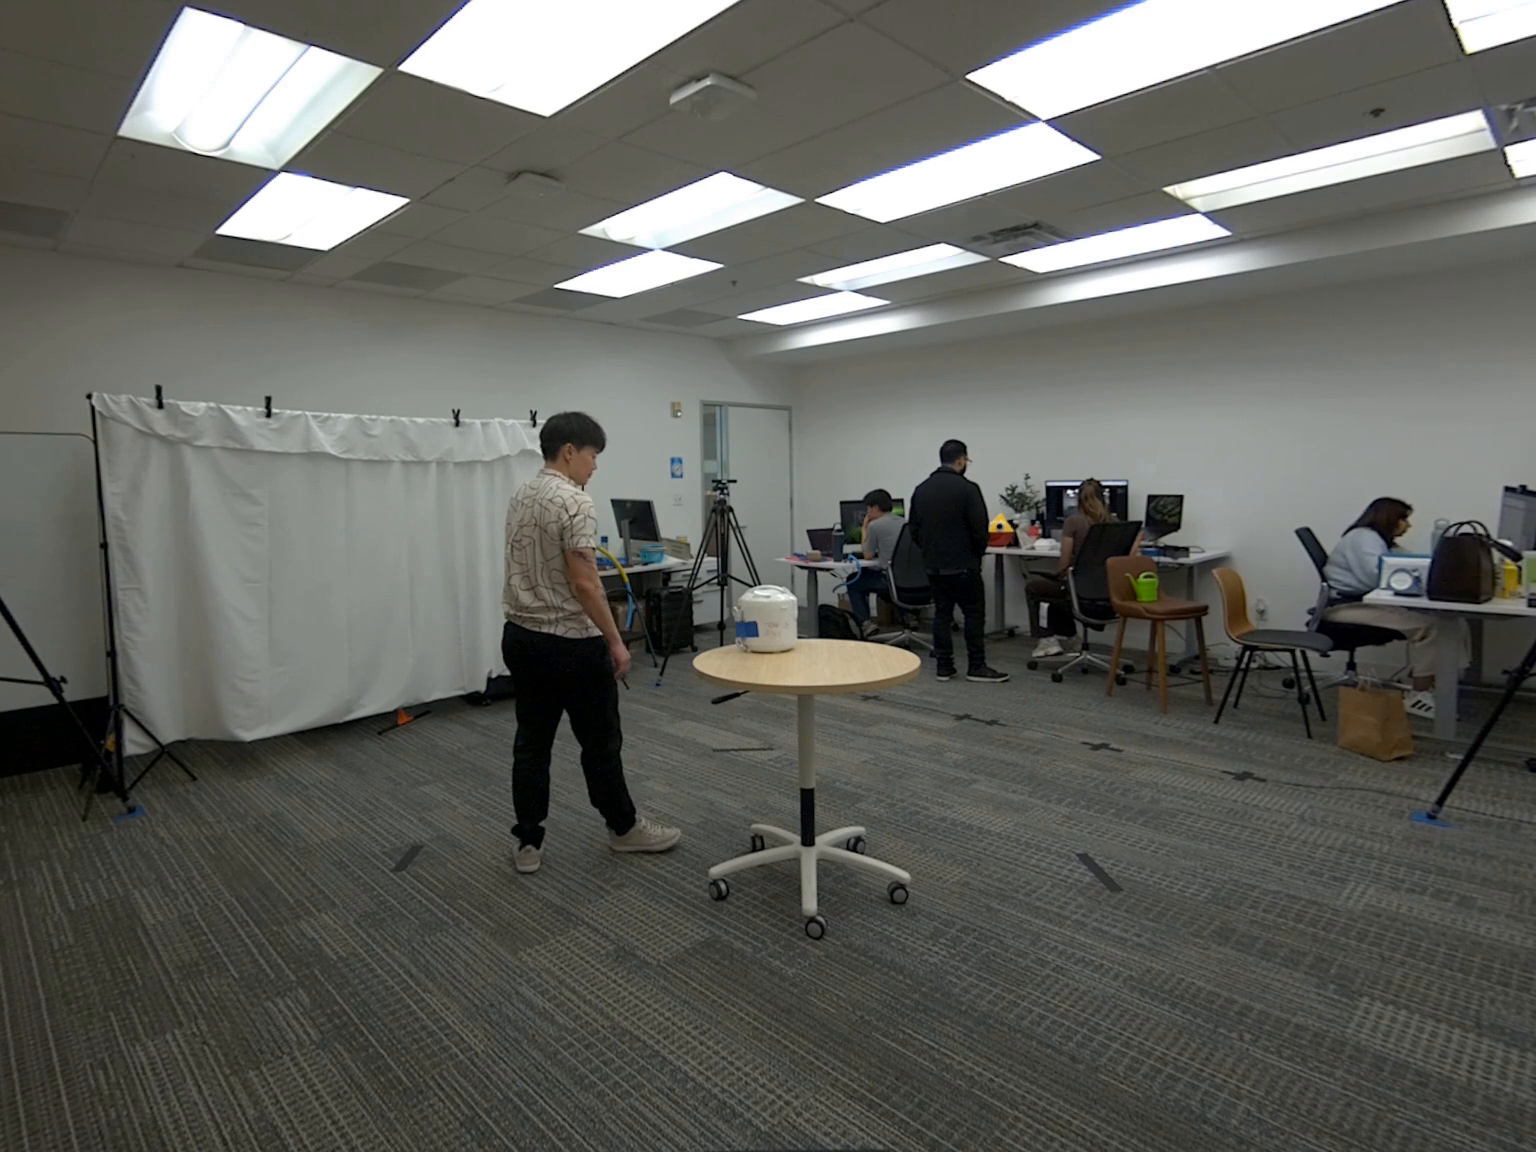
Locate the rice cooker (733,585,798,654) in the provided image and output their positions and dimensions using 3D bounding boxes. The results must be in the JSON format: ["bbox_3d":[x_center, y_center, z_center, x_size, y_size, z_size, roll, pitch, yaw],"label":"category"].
[{"bbox_3d":[-0.001,0.148,3.093,0.225,0.232,0.214,0,6,20],"label":"rice cooker"}]
